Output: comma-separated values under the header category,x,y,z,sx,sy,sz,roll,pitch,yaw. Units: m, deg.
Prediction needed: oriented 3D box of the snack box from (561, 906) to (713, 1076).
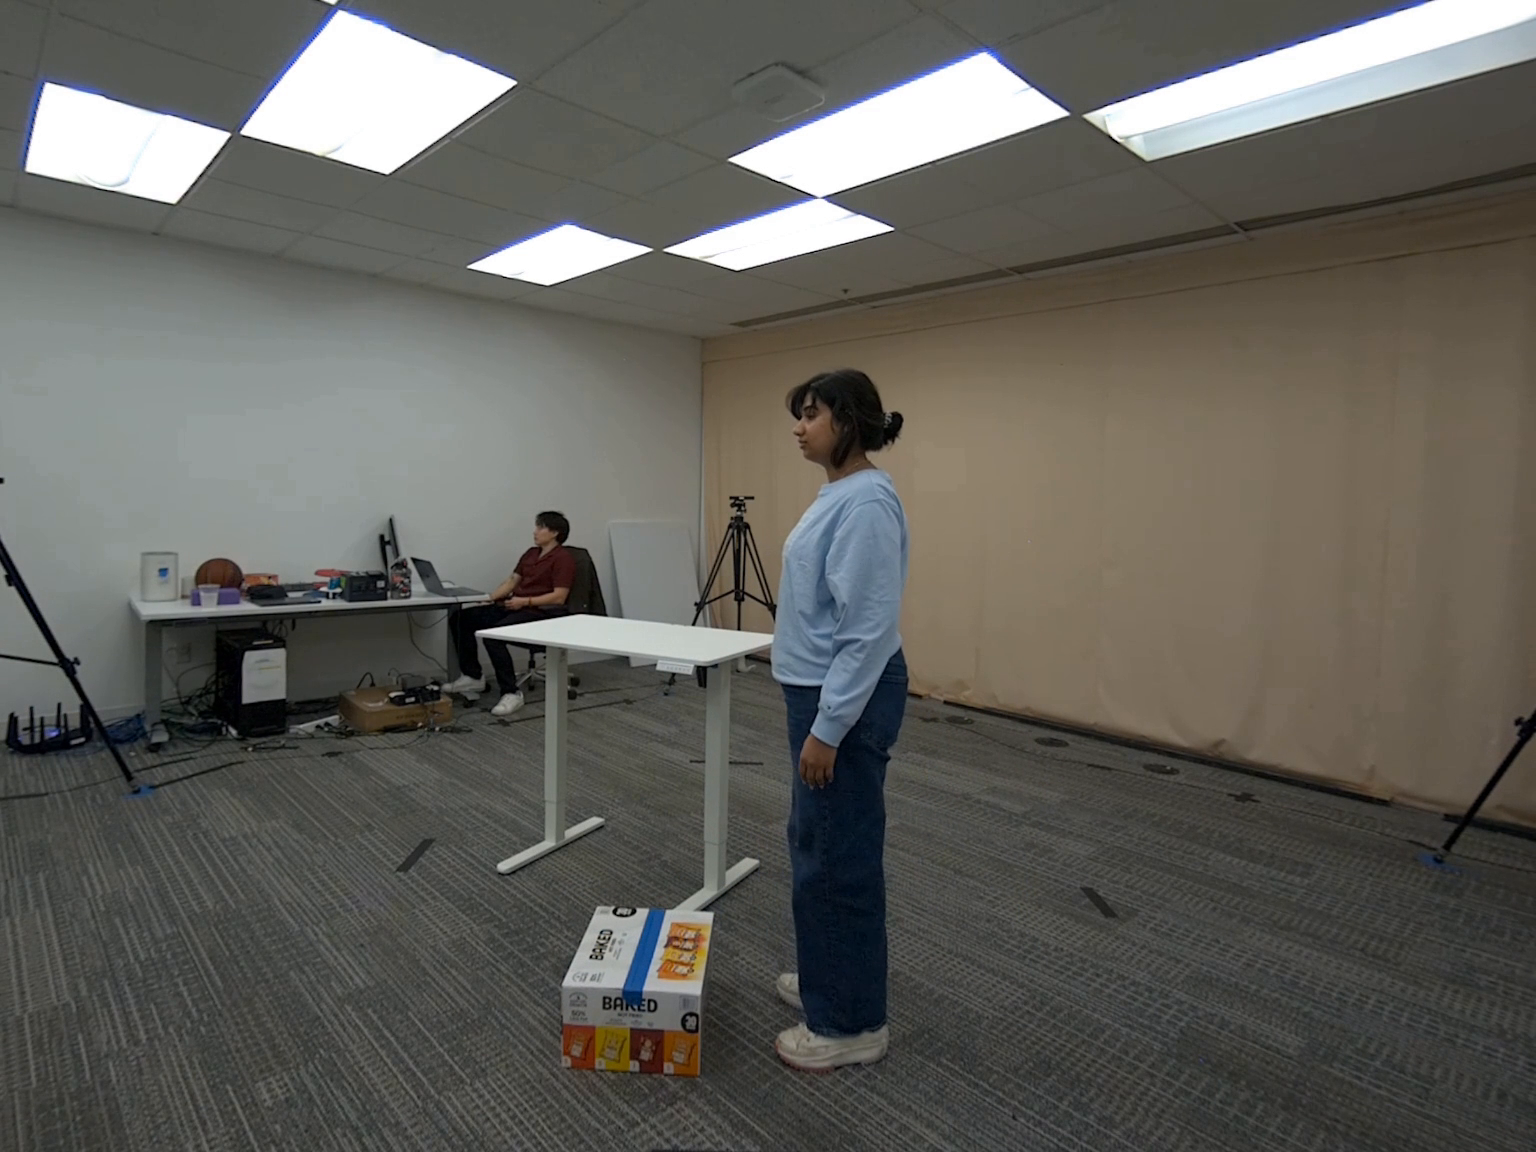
category,x,y,z,sx,sy,sz,roll,pitch,yaw
snack box,-0.329,1.075,2.231,0.341,0.205,0.405,2,5,2
